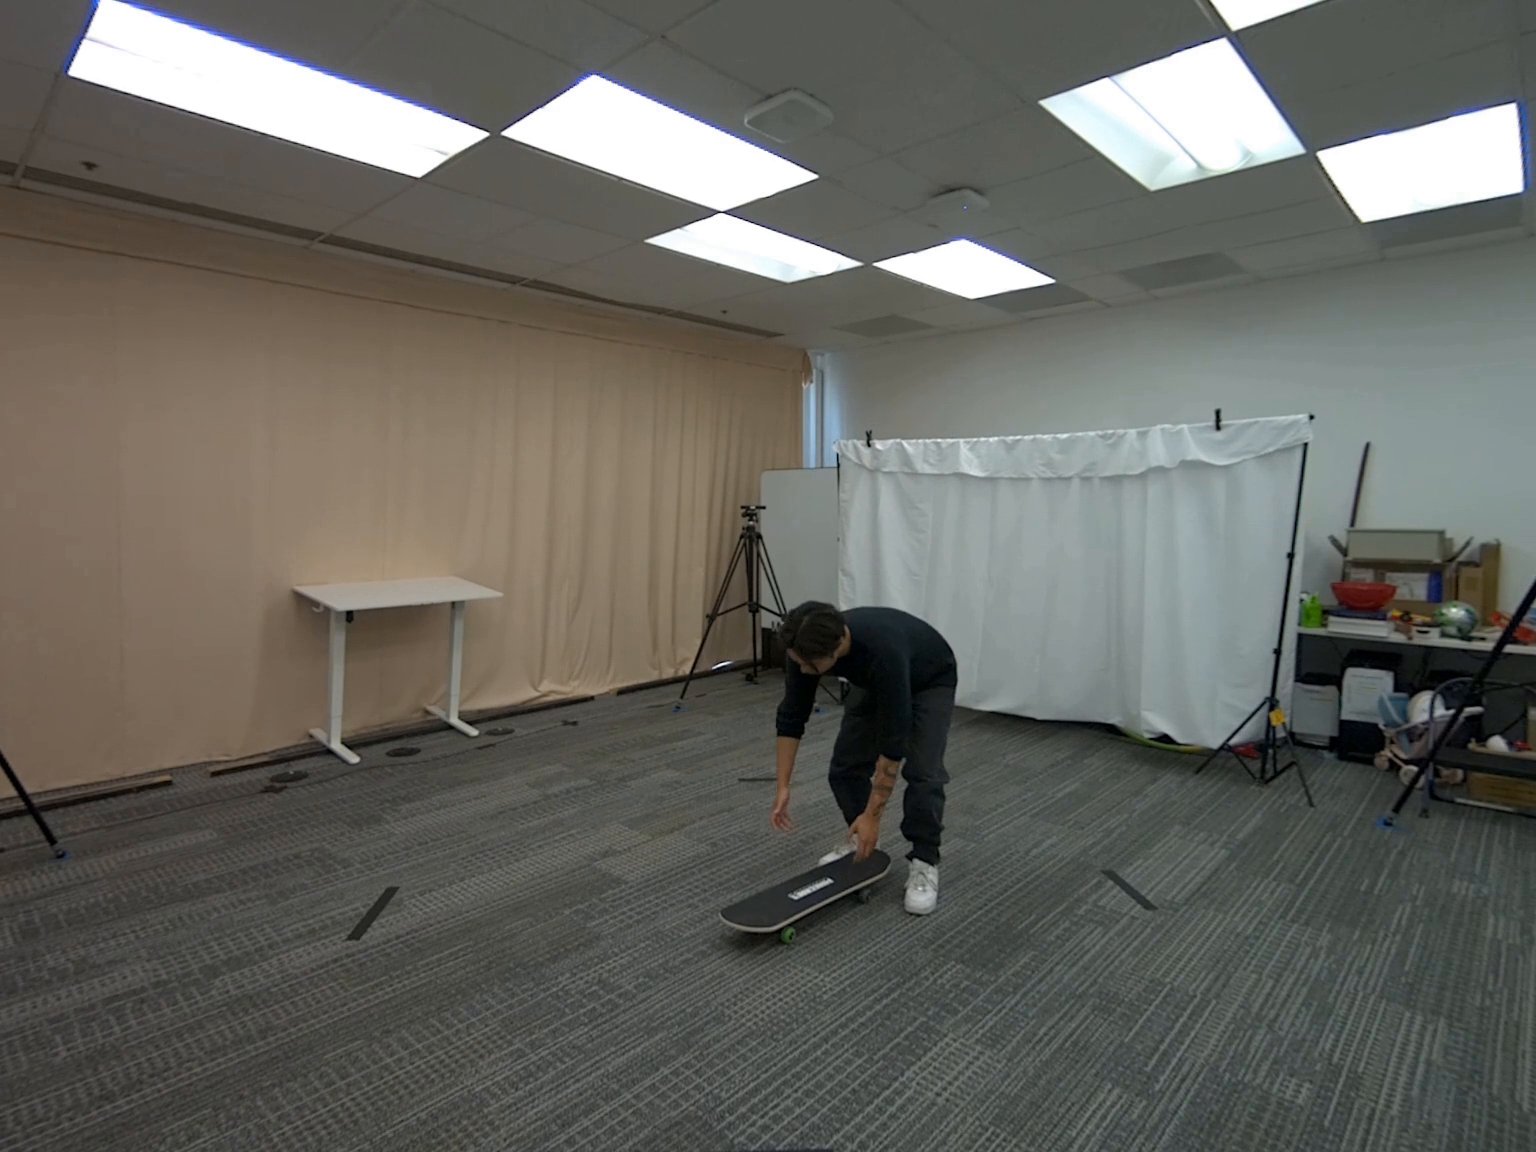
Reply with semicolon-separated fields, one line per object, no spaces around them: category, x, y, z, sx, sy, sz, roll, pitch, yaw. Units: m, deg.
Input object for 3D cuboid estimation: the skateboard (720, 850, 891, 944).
skateboard;0.147;1.099;2.863;0.761;0.110;0.200;-4;6;-44
